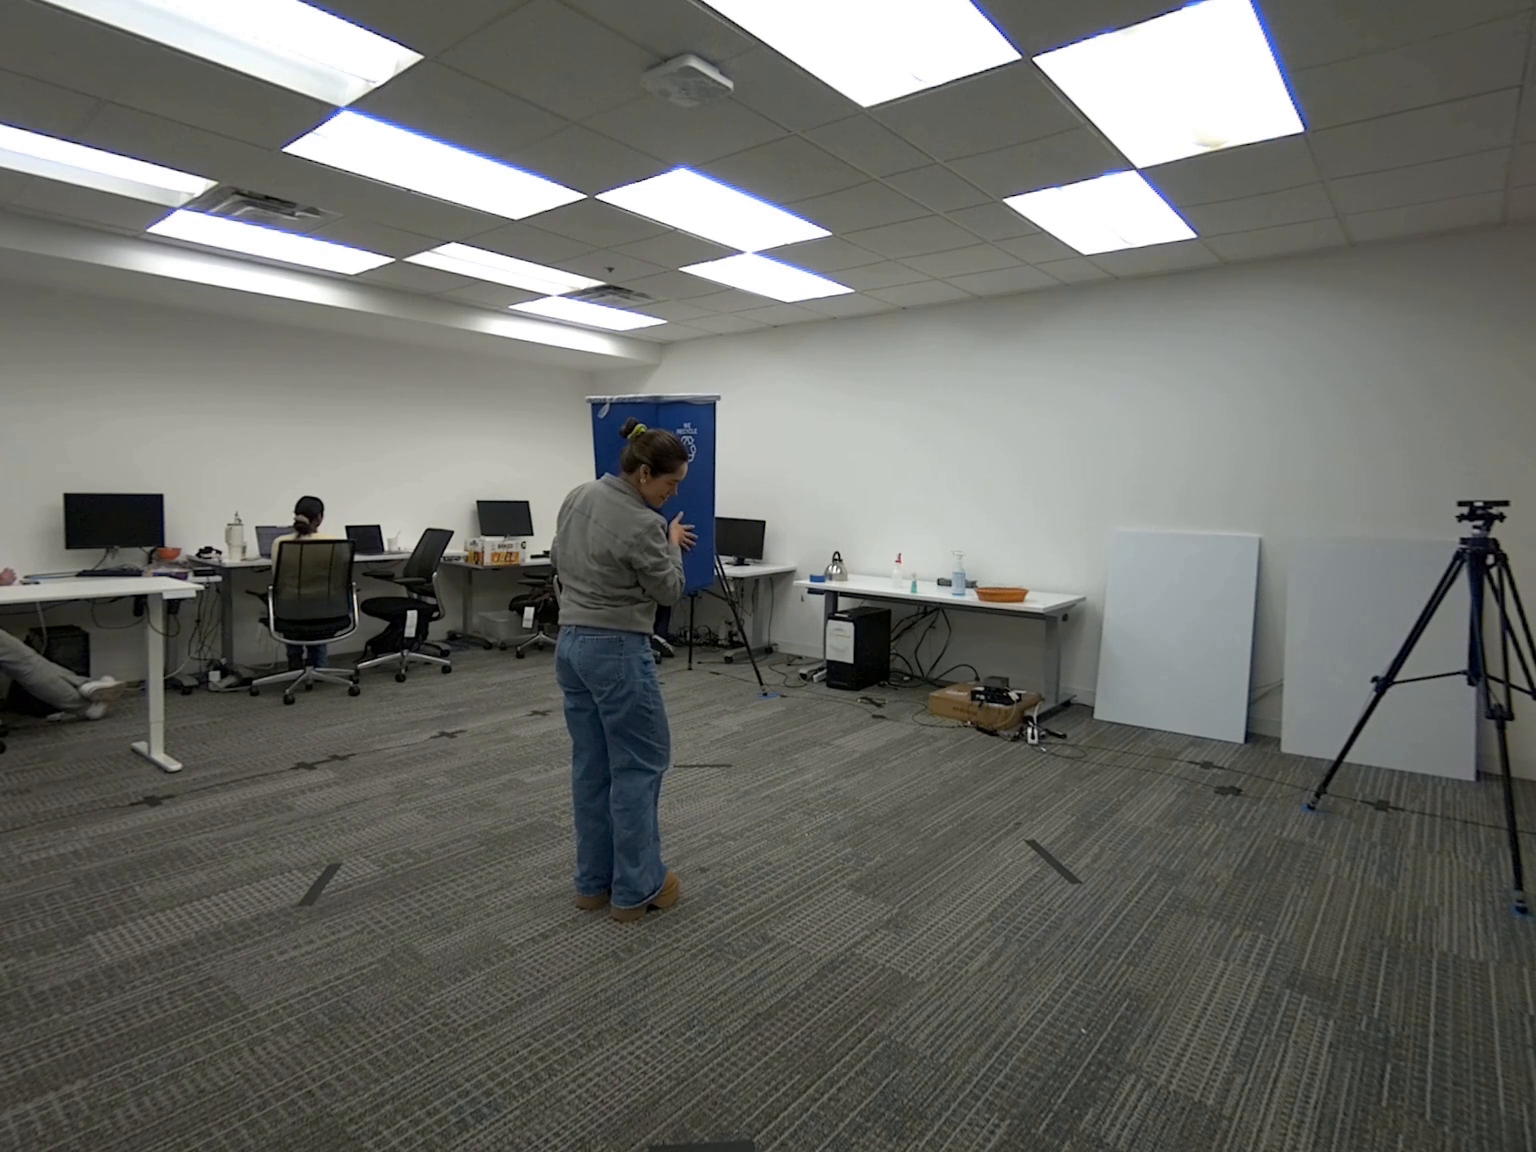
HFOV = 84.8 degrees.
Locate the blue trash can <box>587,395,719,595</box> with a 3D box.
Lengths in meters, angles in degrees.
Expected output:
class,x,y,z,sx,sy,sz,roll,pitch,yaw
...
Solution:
class,x,y,z,sx,sy,sz,roll,pitch,yaw
blue trash can,-0.418,-0.317,3.150,0.391,0.707,0.365,7,12,36
